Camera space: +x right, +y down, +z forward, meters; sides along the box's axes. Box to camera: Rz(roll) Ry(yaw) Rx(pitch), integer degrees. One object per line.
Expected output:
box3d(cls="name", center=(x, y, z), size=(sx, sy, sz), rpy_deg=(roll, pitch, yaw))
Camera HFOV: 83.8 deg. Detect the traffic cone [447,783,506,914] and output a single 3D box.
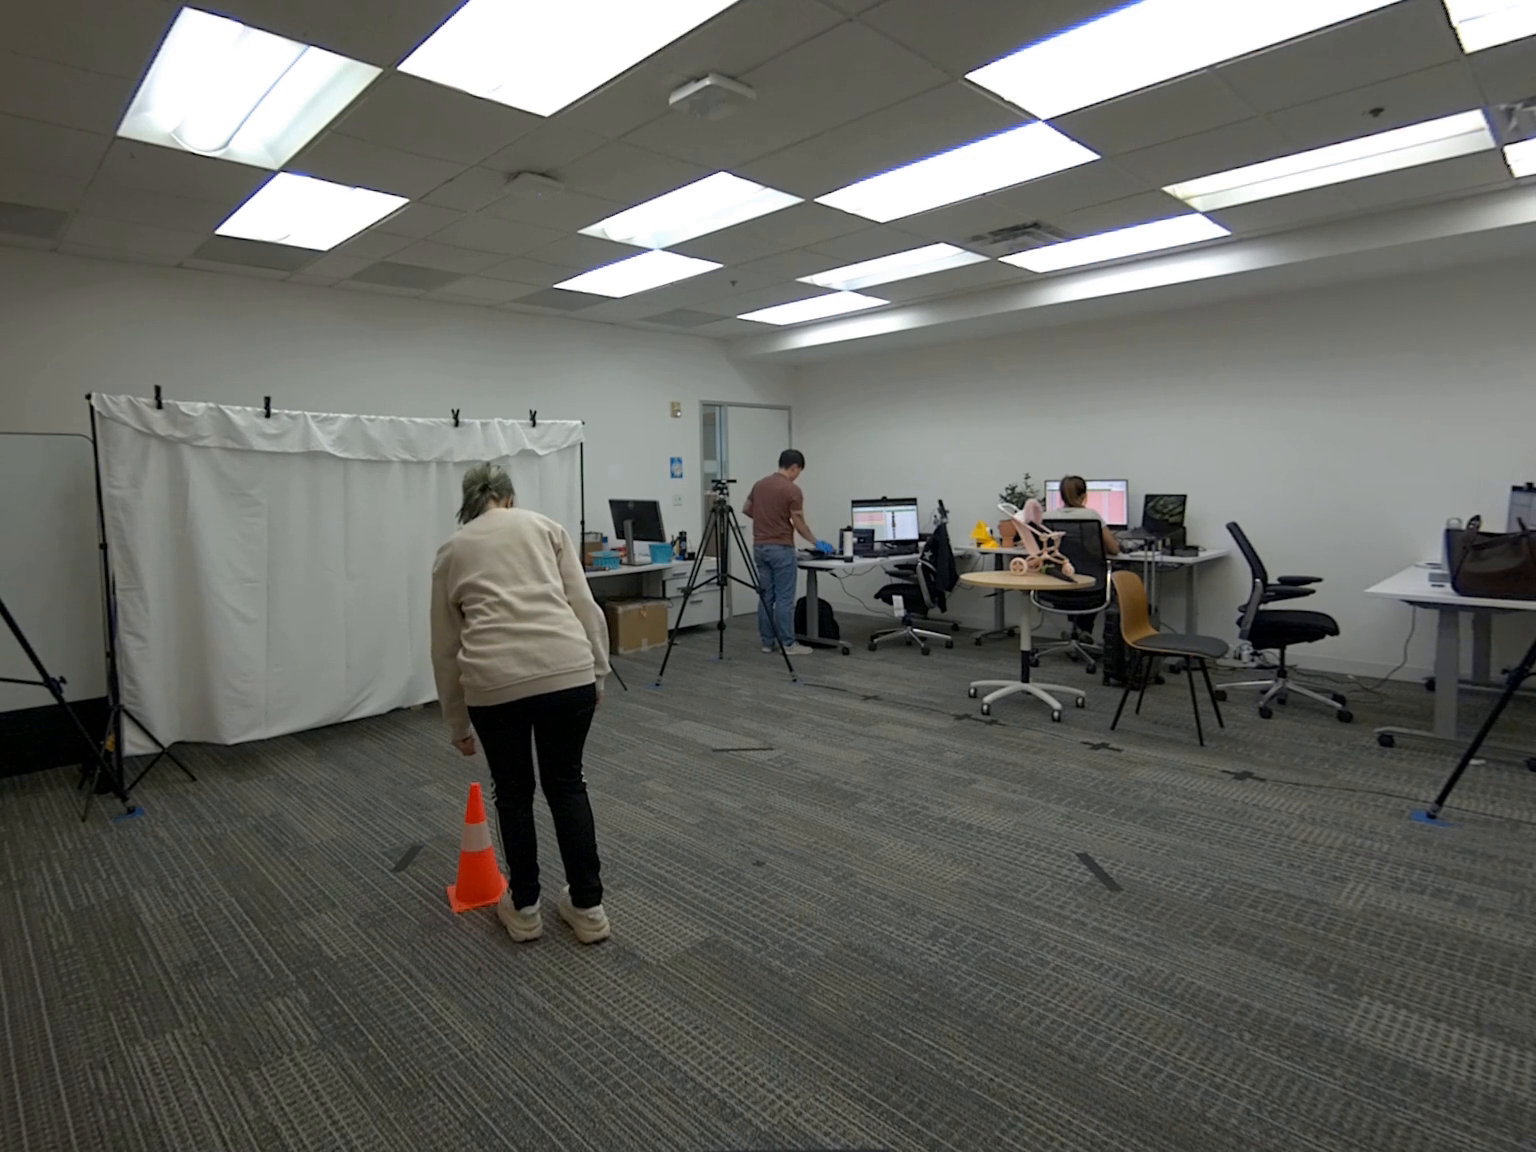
box3d(cls="traffic cone", center=(-0.987, 0.903, 2.917), size=(0.201, 0.382, 0.208), rpy_deg=(-3, 5, -20))
